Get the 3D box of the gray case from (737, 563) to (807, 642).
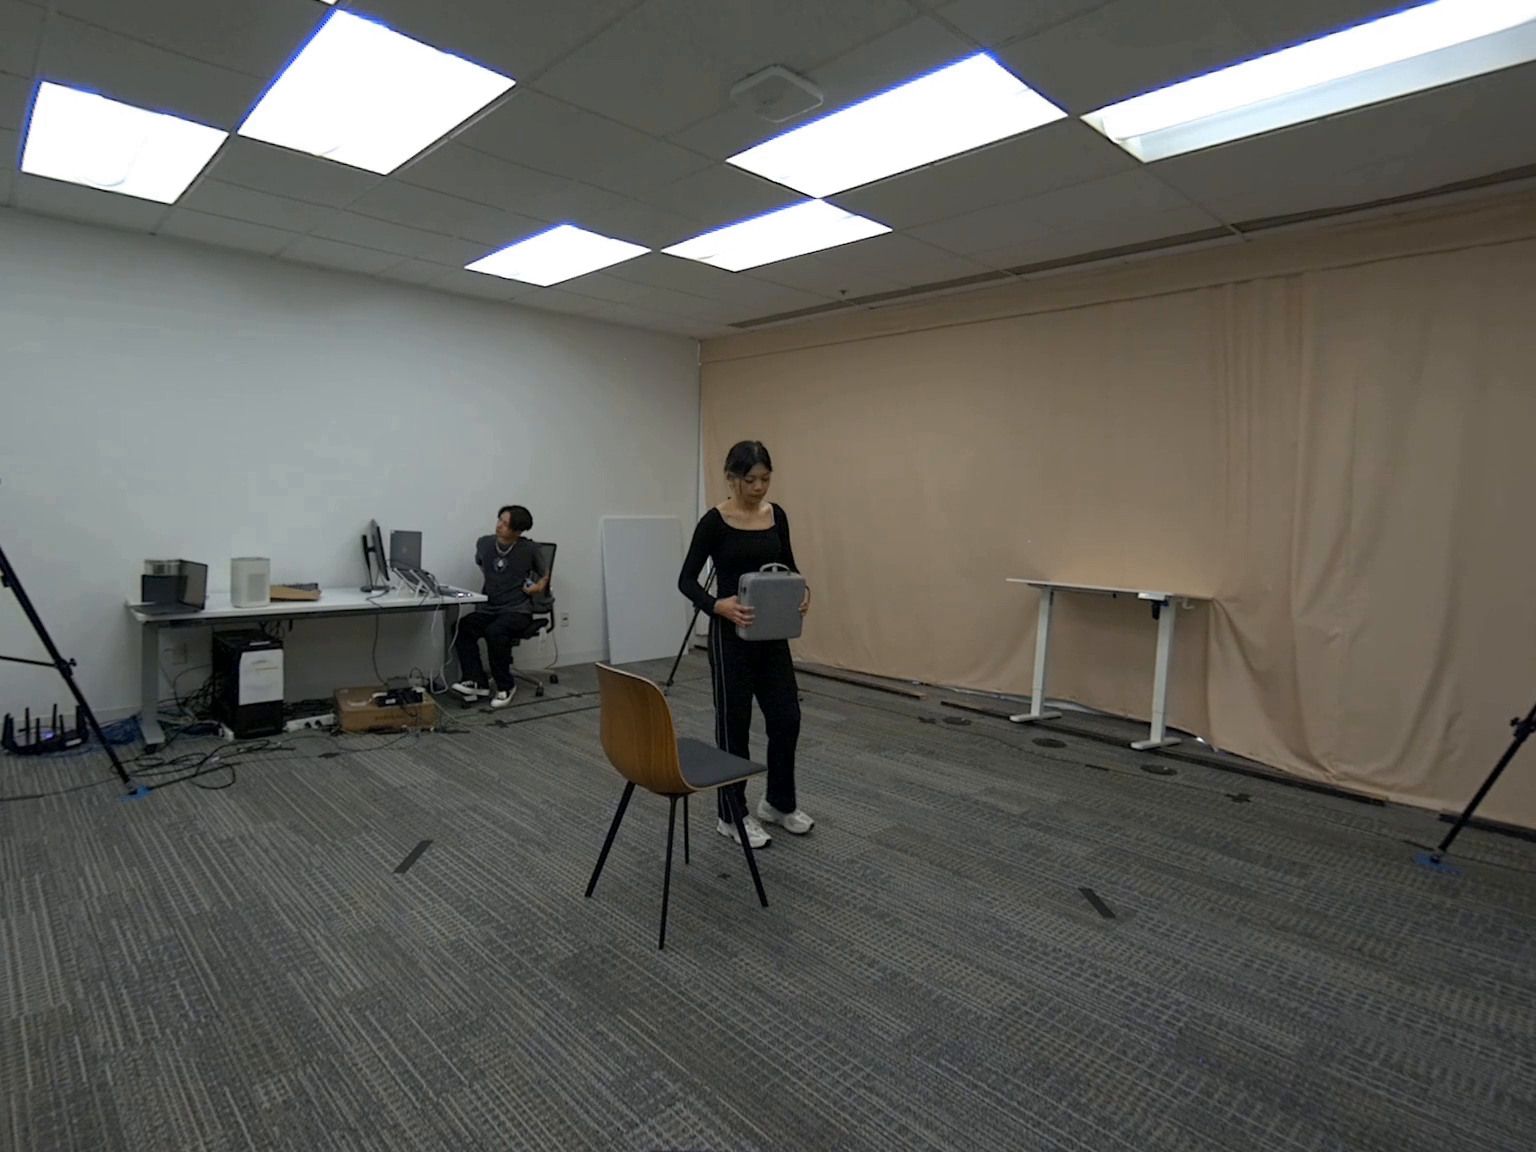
[{"bbox_3d":[0.003,0.106,3.219,0.252,0.259,0.107,-2,10,-24],"label":"gray case"}]
